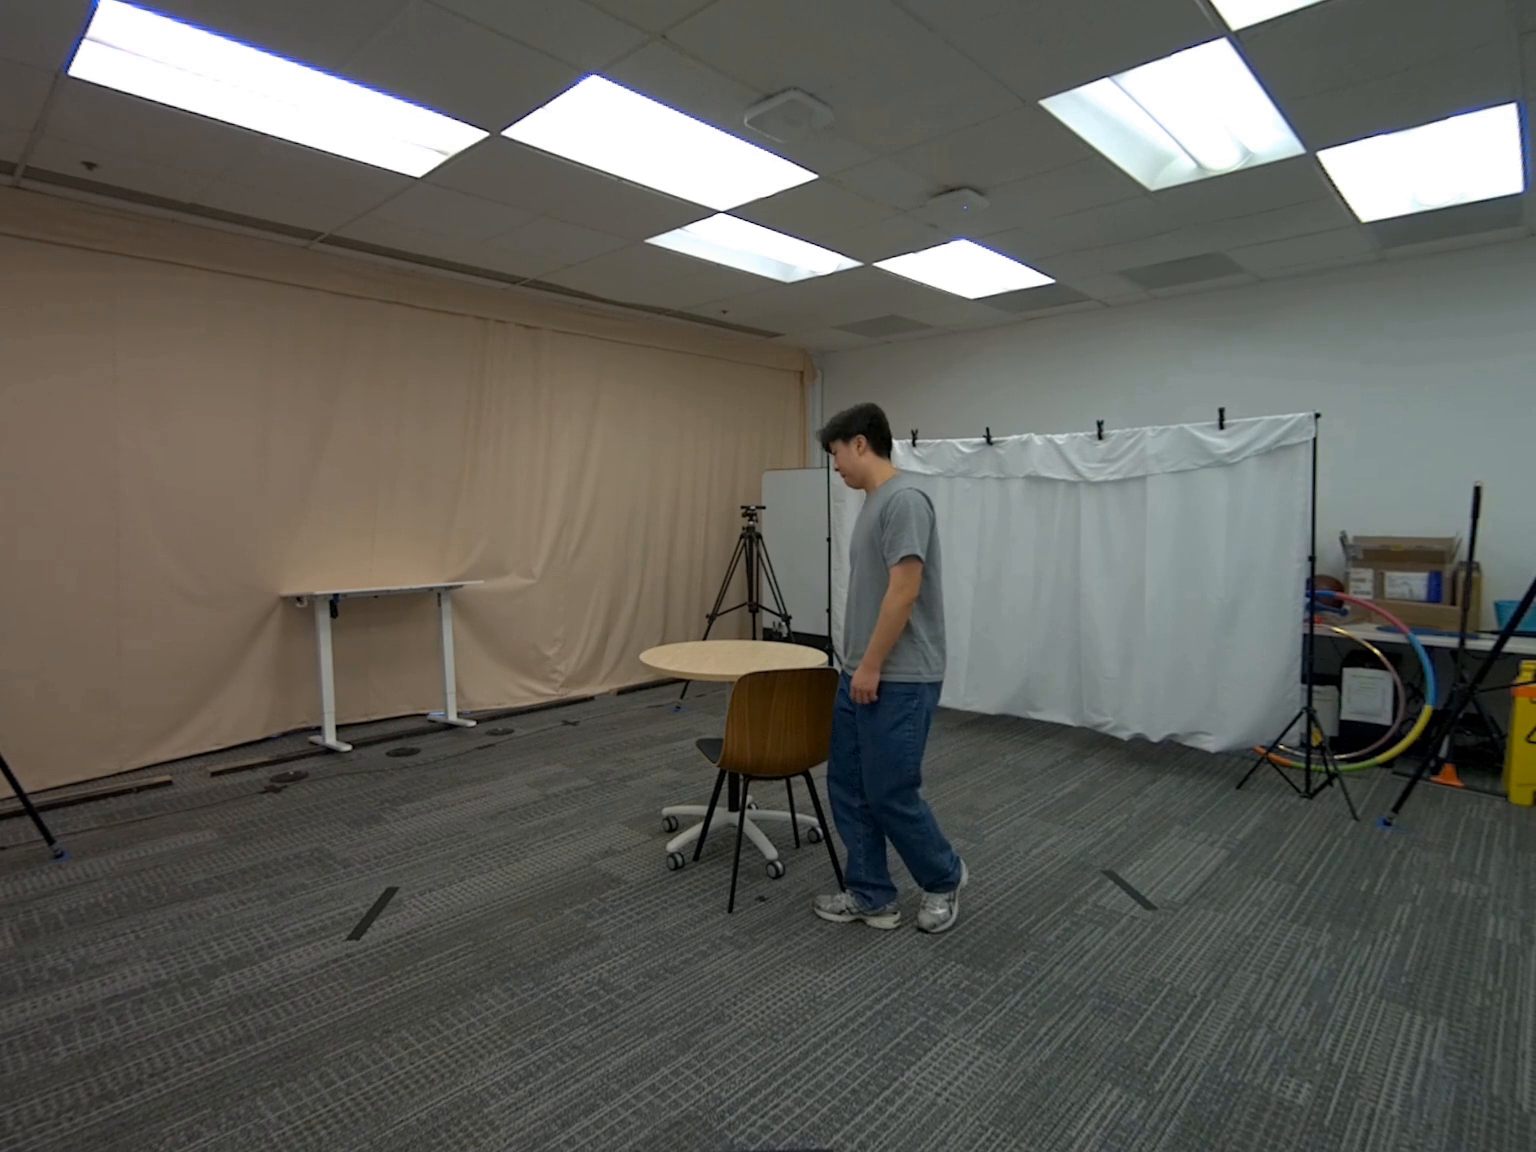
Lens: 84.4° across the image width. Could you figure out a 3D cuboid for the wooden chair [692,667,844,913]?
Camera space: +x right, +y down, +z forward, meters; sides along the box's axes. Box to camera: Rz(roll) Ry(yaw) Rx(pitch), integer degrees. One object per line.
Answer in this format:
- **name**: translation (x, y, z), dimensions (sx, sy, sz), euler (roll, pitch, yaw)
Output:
- **wooden chair**: translation (-0.004, 0.702, 3.126), dimensions (0.469, 0.873, 0.536), euler (-2, 8, -20)
